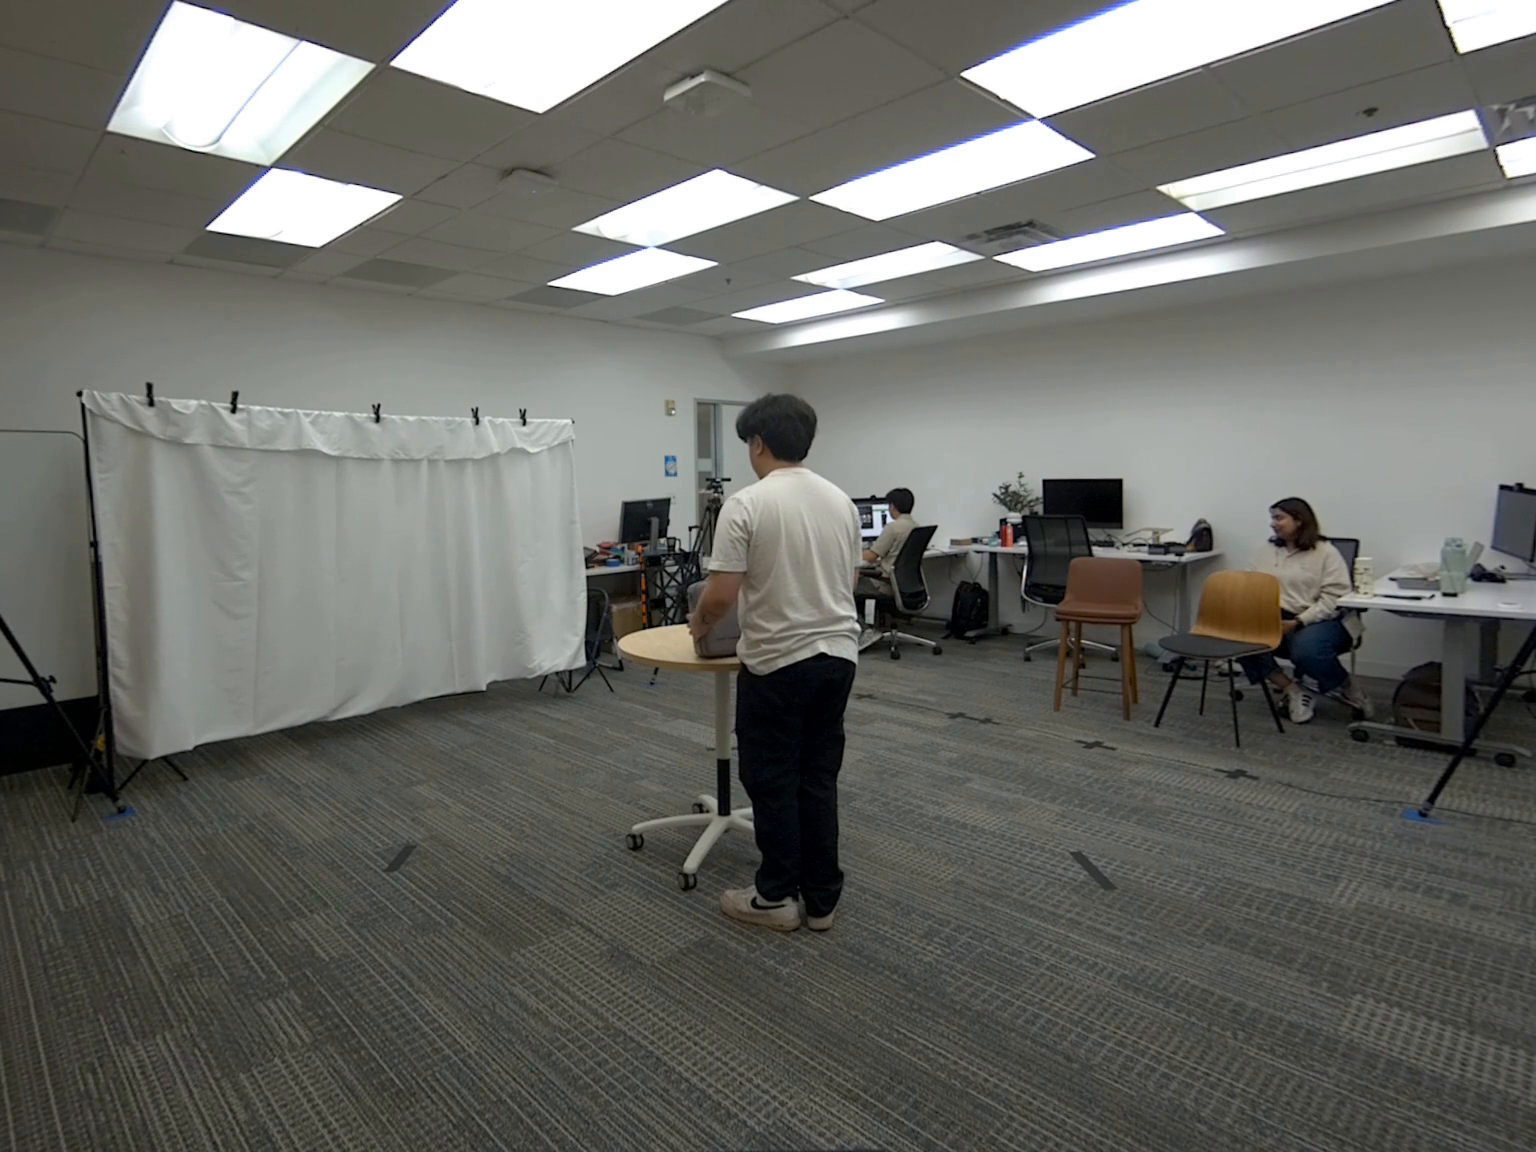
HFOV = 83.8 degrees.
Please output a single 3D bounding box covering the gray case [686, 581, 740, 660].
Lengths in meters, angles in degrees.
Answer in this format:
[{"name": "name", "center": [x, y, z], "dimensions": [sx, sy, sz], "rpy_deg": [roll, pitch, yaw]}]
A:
[{"name": "gray case", "center": [-0.134, 0.131, 2.937], "dimensions": [0.251, 0.263, 0.106], "rpy_deg": [-3, -8, -25]}]
